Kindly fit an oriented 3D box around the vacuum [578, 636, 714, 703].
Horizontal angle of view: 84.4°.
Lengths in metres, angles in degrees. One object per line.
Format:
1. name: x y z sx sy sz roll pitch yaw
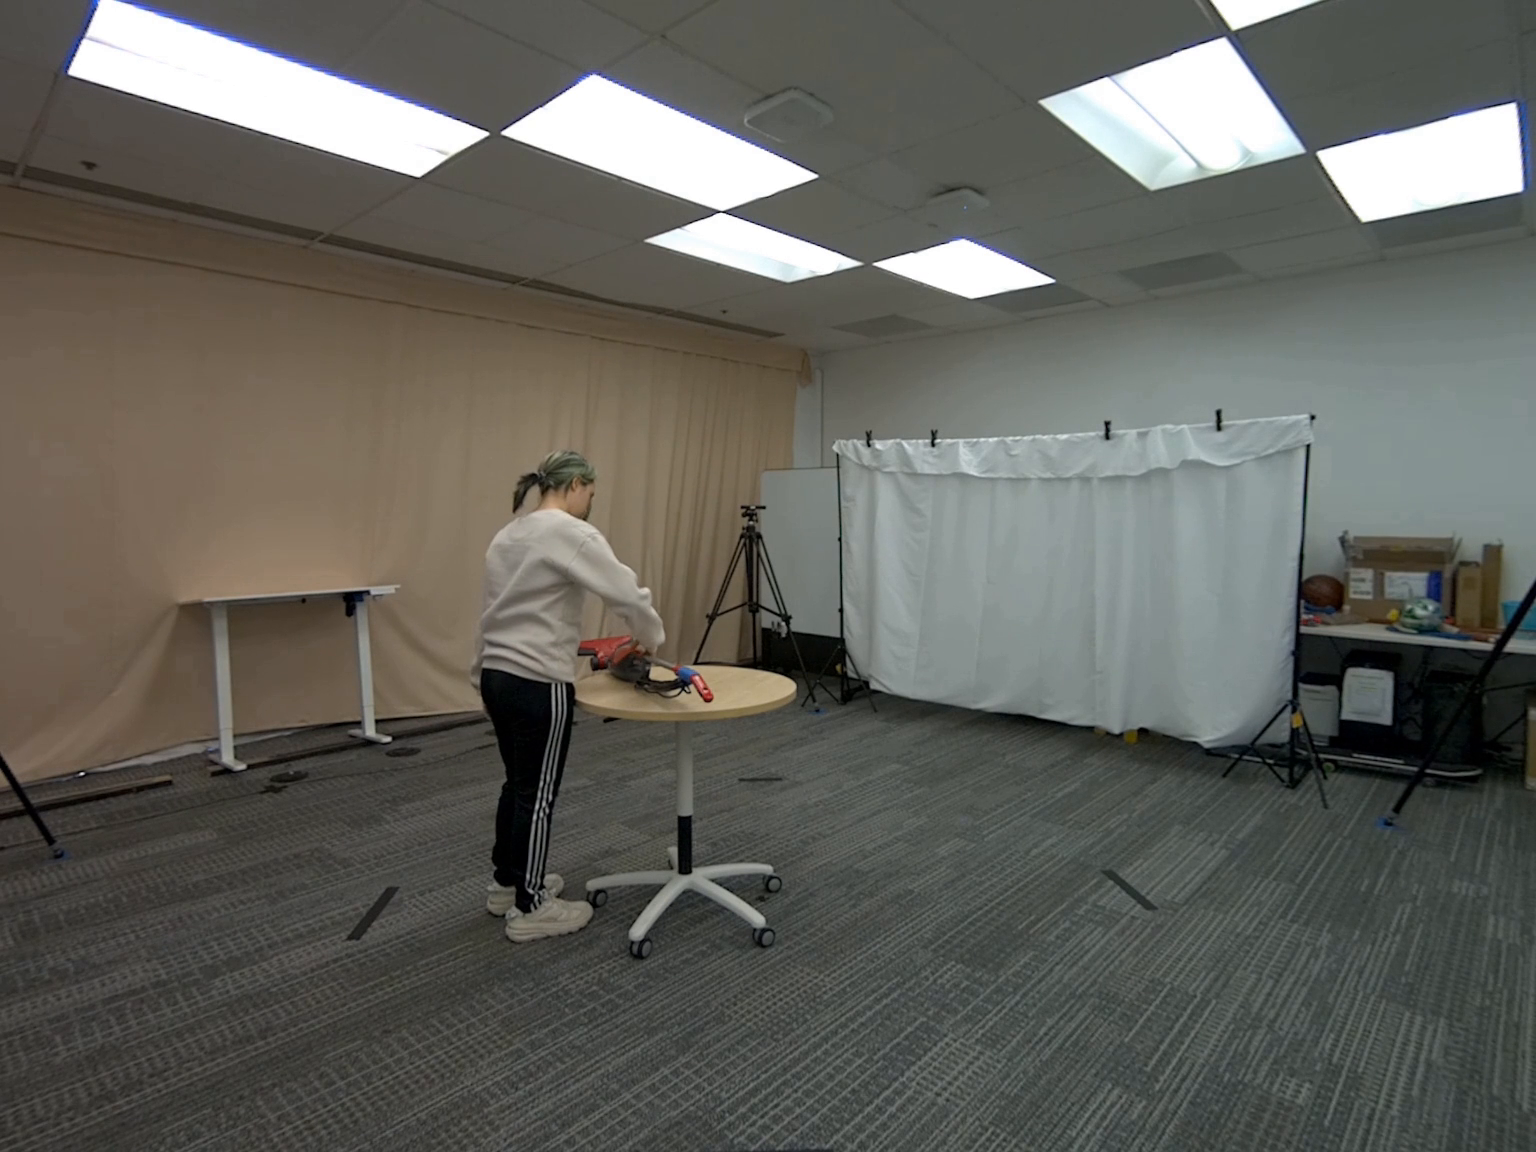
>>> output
1. vacuum: -0.396 0.332 2.769 0.247 0.143 1.075 -7 6 -25
